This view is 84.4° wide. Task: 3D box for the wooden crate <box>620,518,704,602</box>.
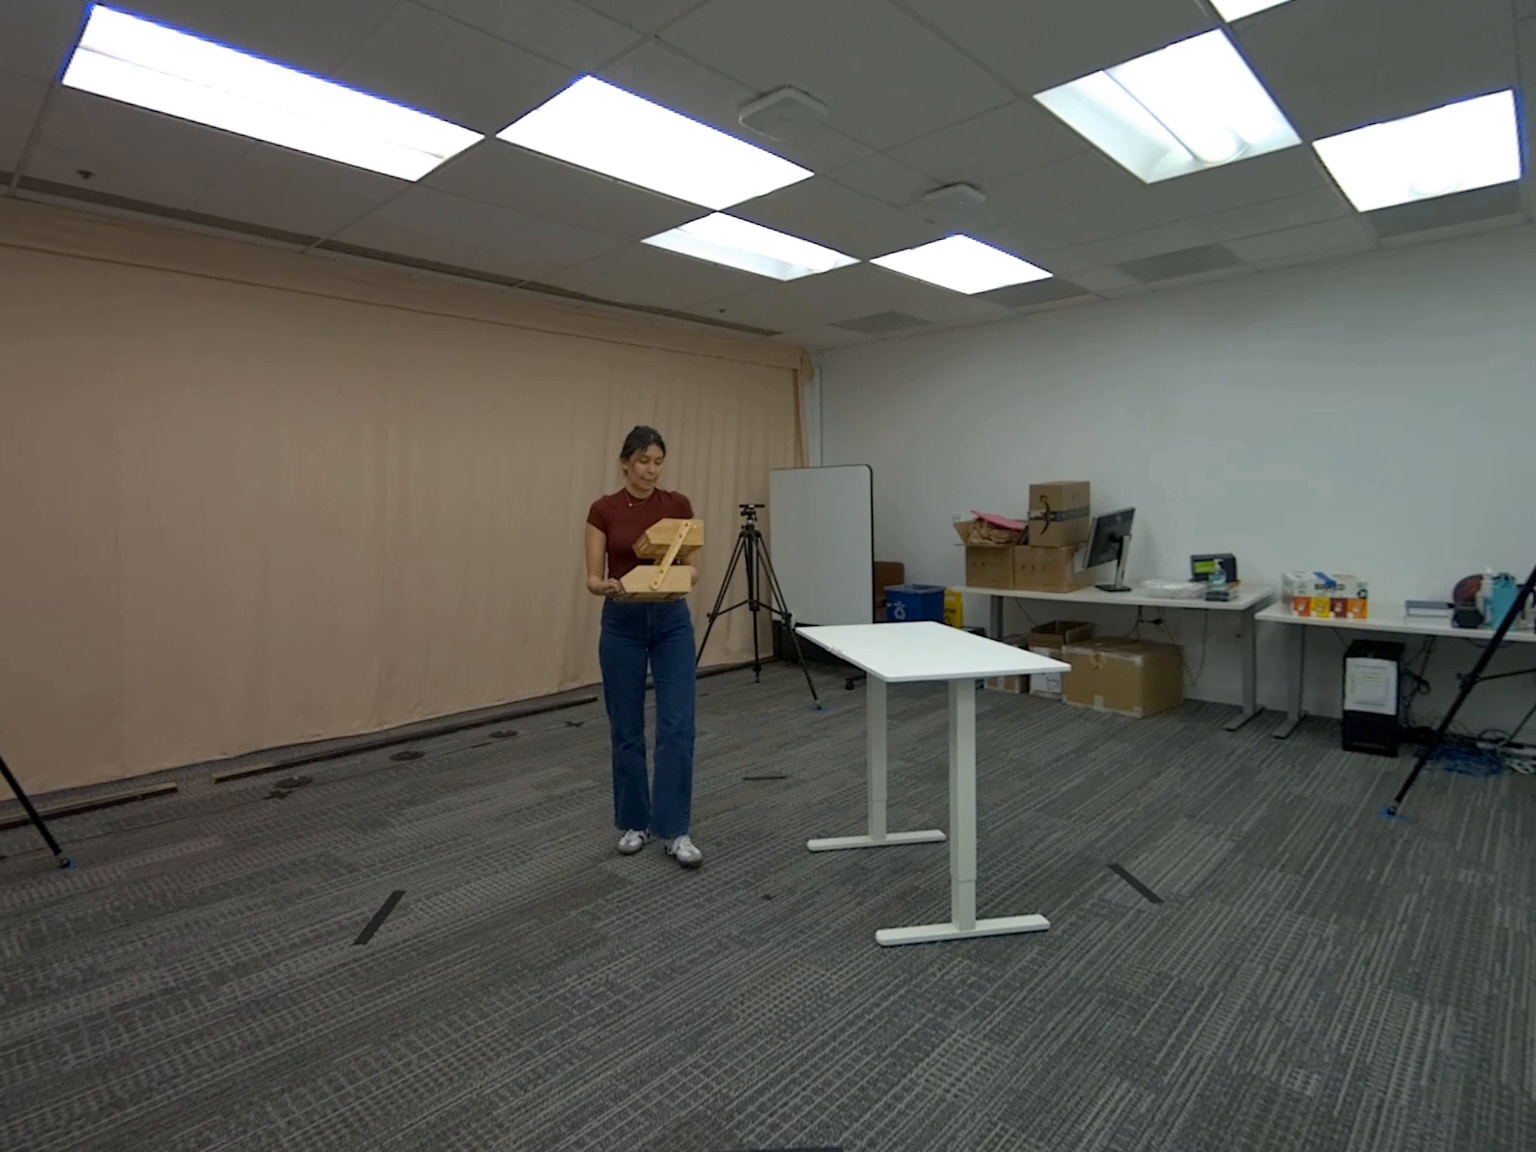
[{"bbox_3d":[-0.432,-0.055,3.102,0.296,0.275,0.329,-1,-9,-20],"label":"wooden crate"}]
